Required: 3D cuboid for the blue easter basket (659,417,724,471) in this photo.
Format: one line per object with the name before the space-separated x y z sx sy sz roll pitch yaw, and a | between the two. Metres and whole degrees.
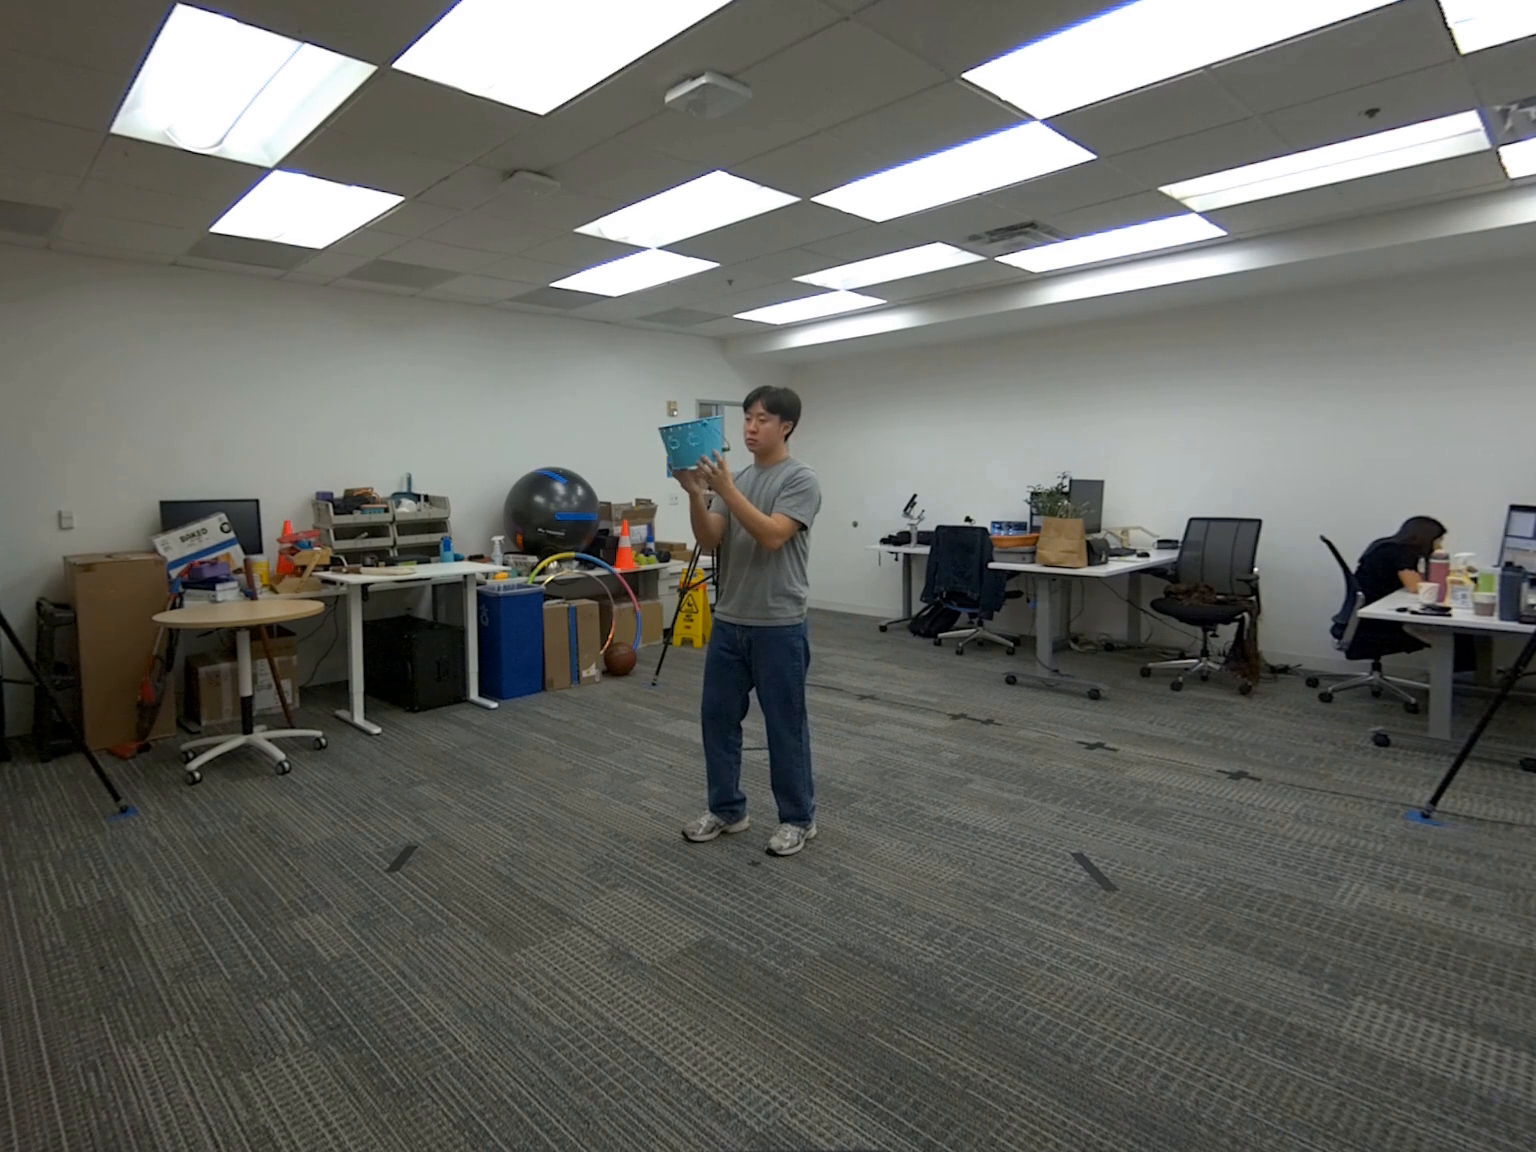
blue easter basket | -0.251 -0.464 2.975 0.244 0.154 0.246 -10 12 0
